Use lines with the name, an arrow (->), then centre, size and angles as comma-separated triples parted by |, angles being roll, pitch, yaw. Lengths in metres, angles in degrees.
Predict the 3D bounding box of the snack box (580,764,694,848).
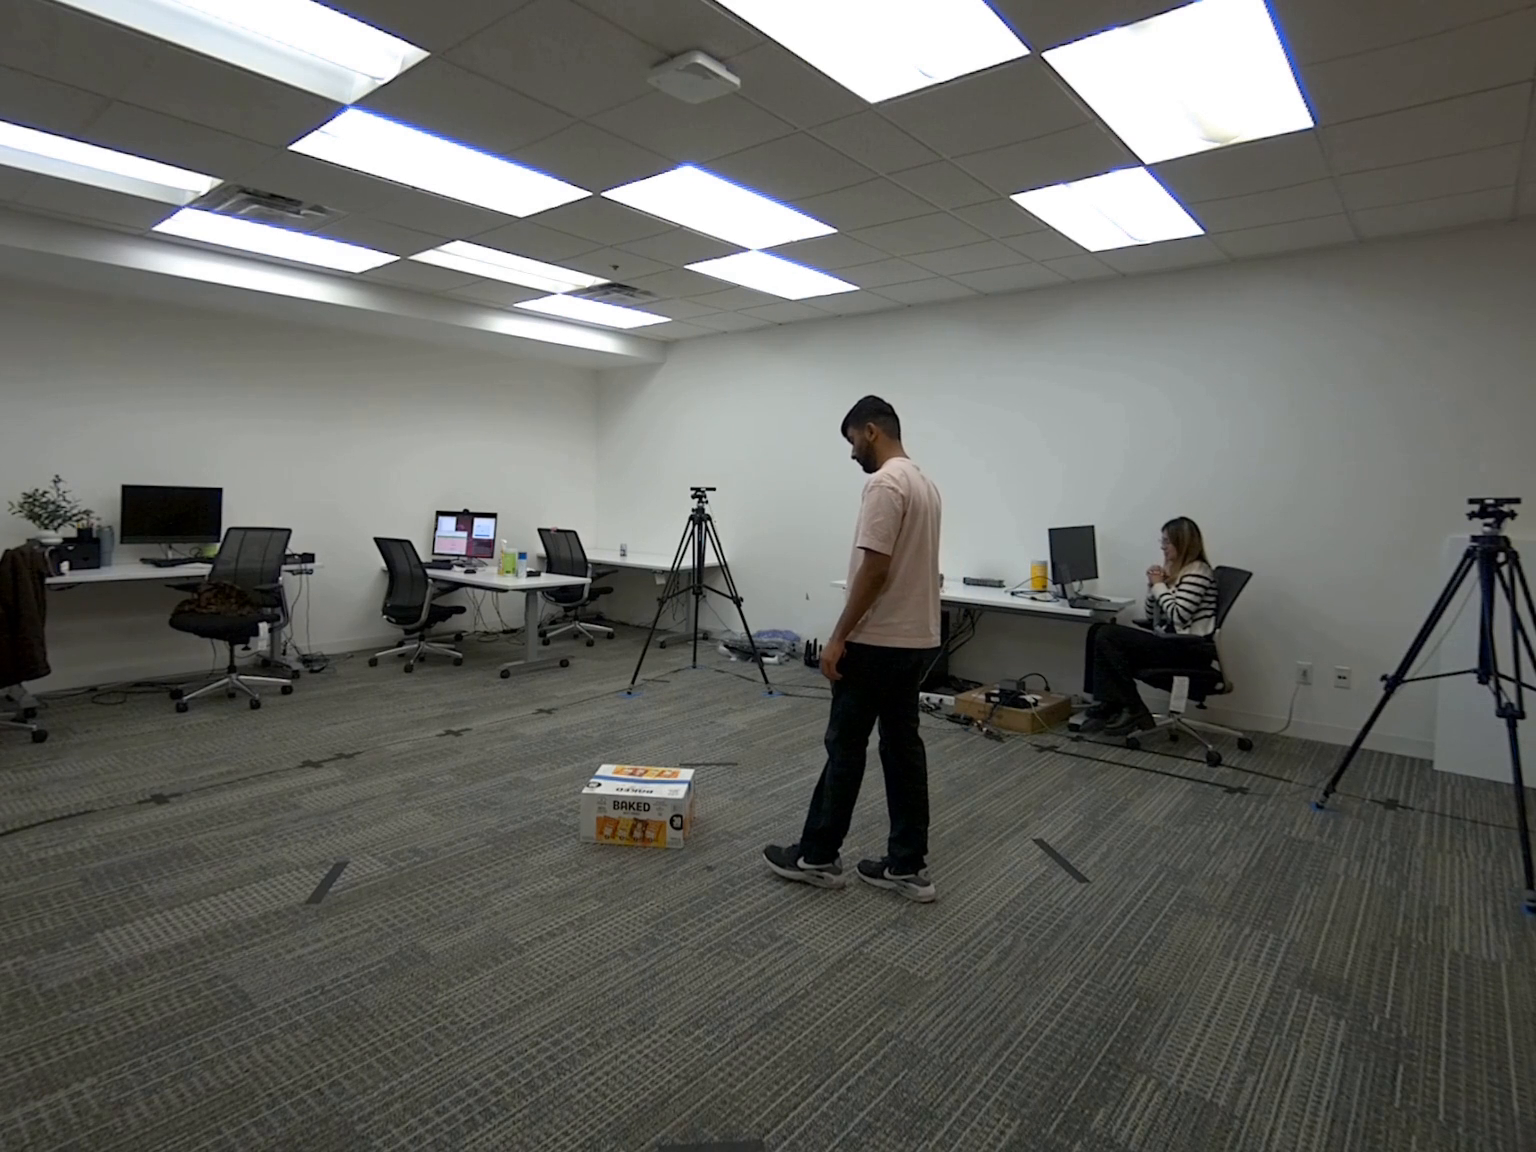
snack box -> -0.530, 0.926, 3.455 | 0.407, 0.205, 0.340 | 1, 5, 4
